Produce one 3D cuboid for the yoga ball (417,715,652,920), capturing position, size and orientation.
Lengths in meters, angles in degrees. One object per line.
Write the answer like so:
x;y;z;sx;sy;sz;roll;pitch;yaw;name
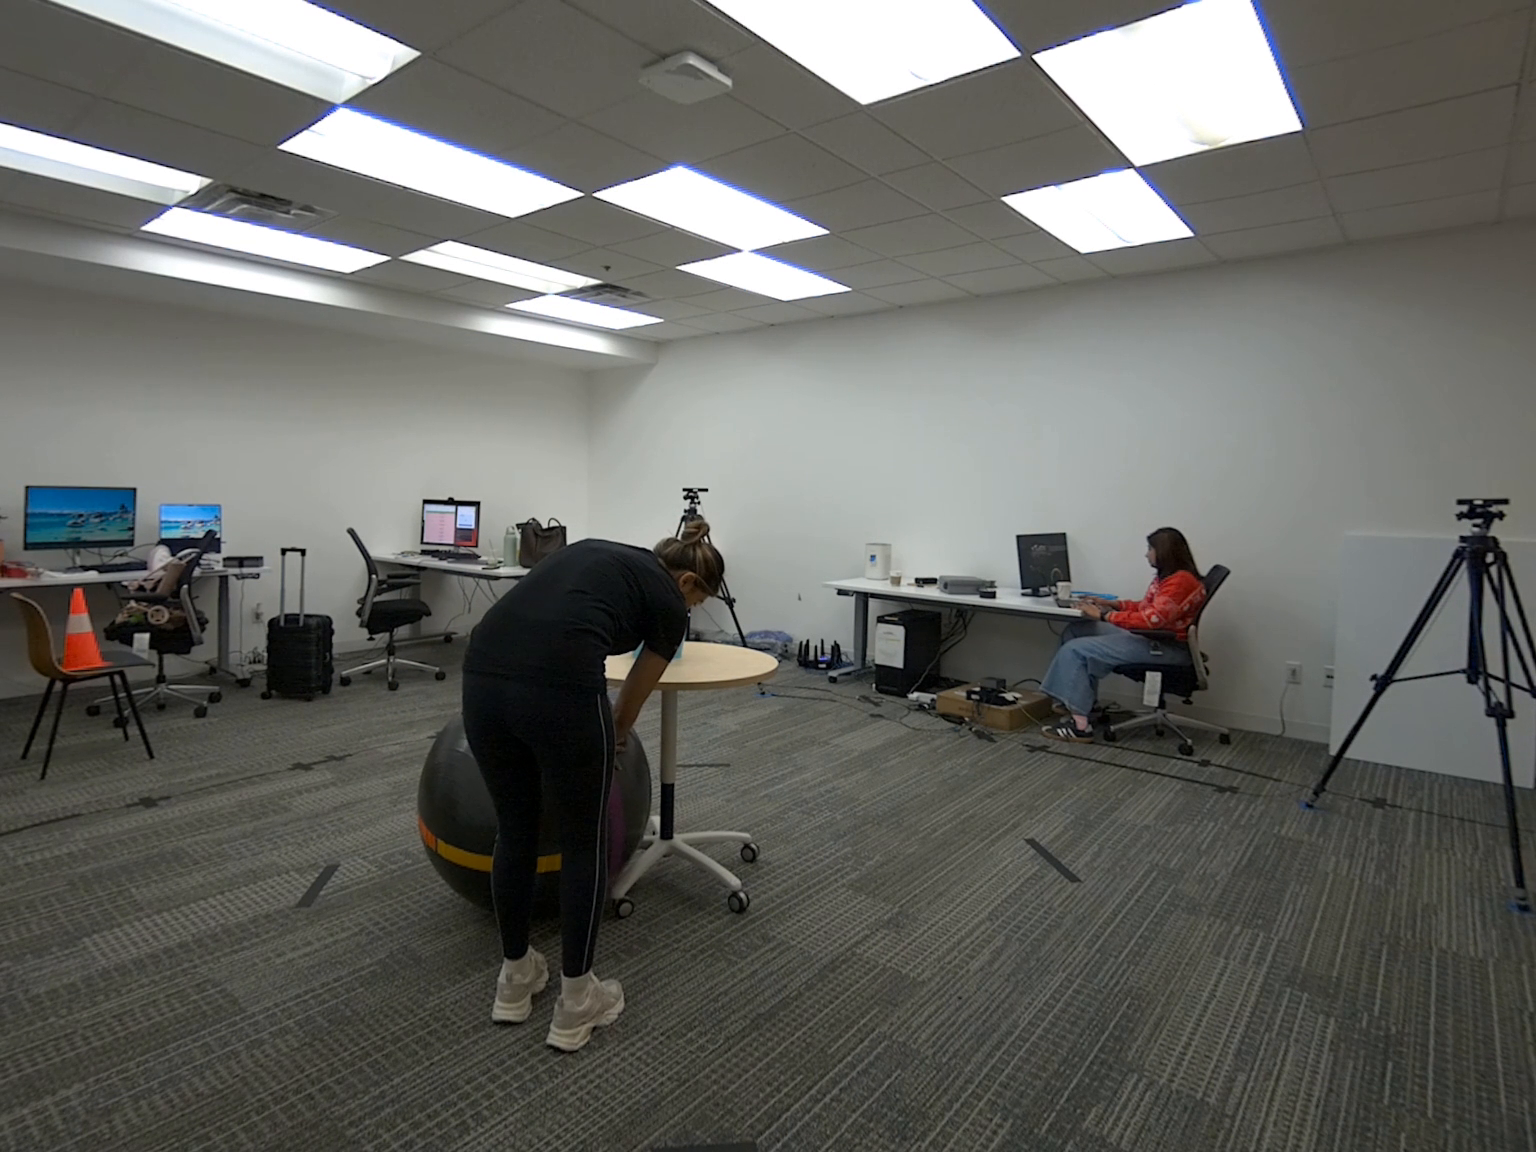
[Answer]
-0.784;0.730;2.820;0.757;0.756;0.761;1;4;-2;yoga ball
